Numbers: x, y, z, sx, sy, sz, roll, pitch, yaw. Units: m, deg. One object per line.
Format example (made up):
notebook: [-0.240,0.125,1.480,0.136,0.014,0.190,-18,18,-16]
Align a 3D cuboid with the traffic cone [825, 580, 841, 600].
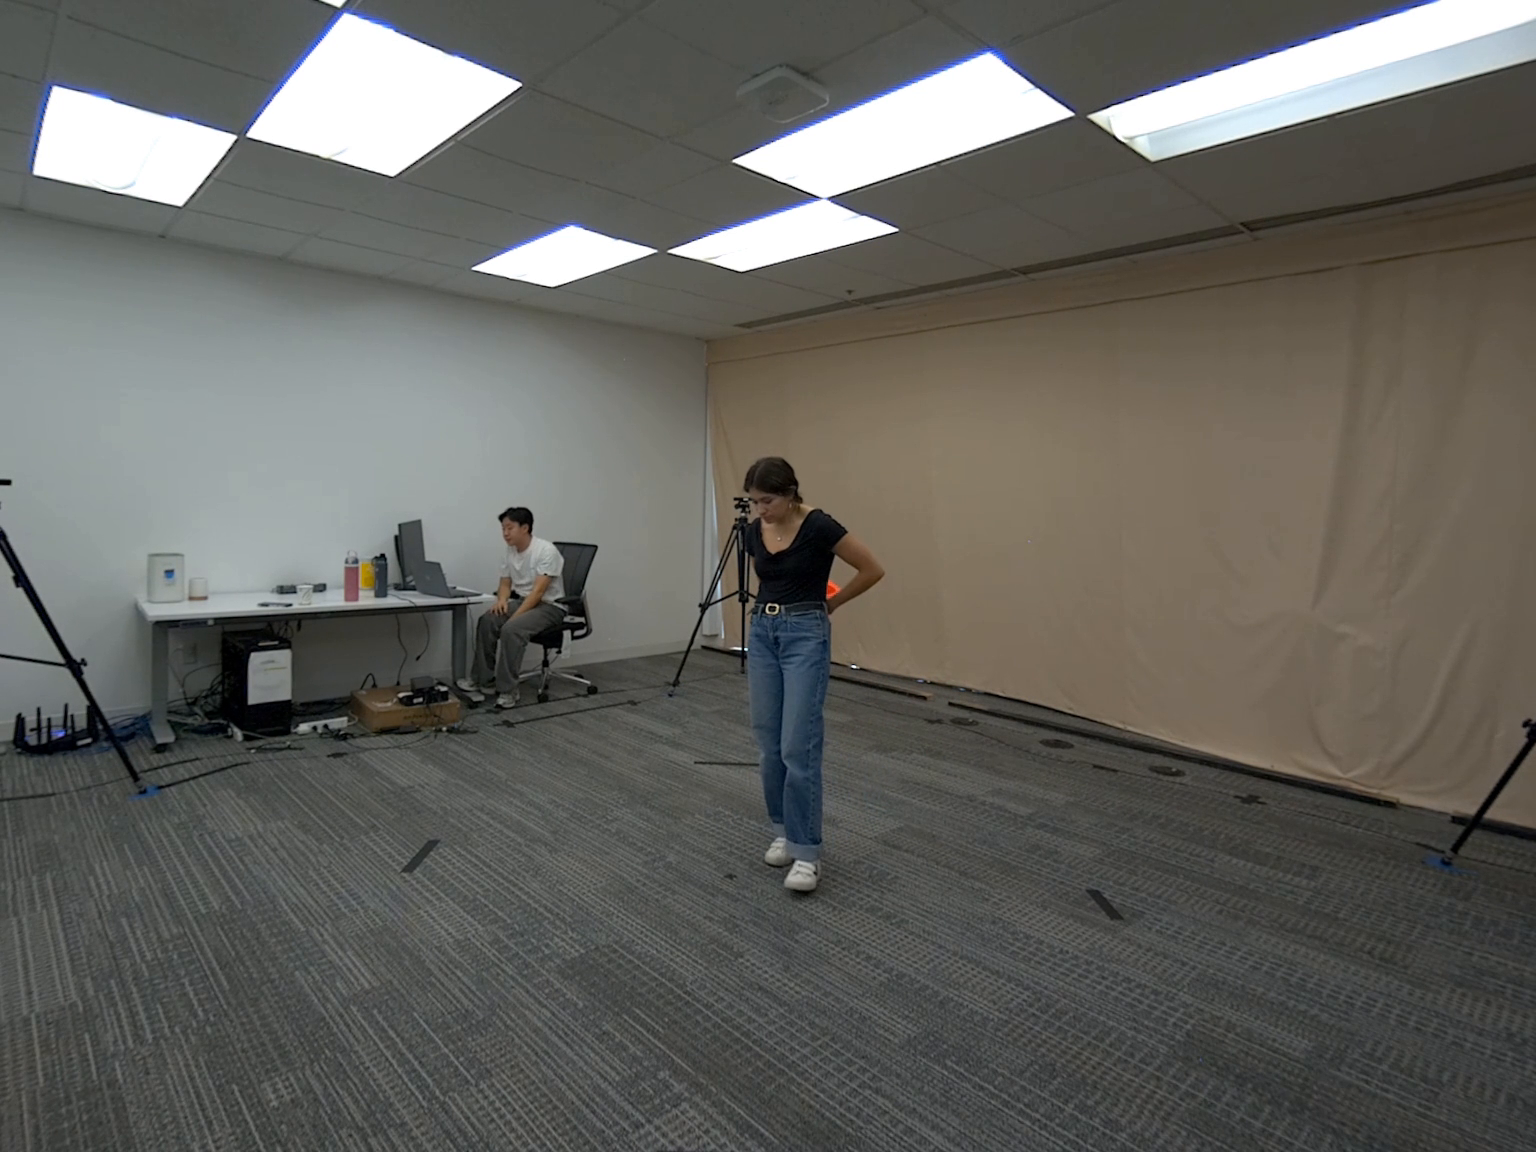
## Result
traffic cone: [0.165,0.236,3.497,0.201,0.380,0.209,2,18,-24]
